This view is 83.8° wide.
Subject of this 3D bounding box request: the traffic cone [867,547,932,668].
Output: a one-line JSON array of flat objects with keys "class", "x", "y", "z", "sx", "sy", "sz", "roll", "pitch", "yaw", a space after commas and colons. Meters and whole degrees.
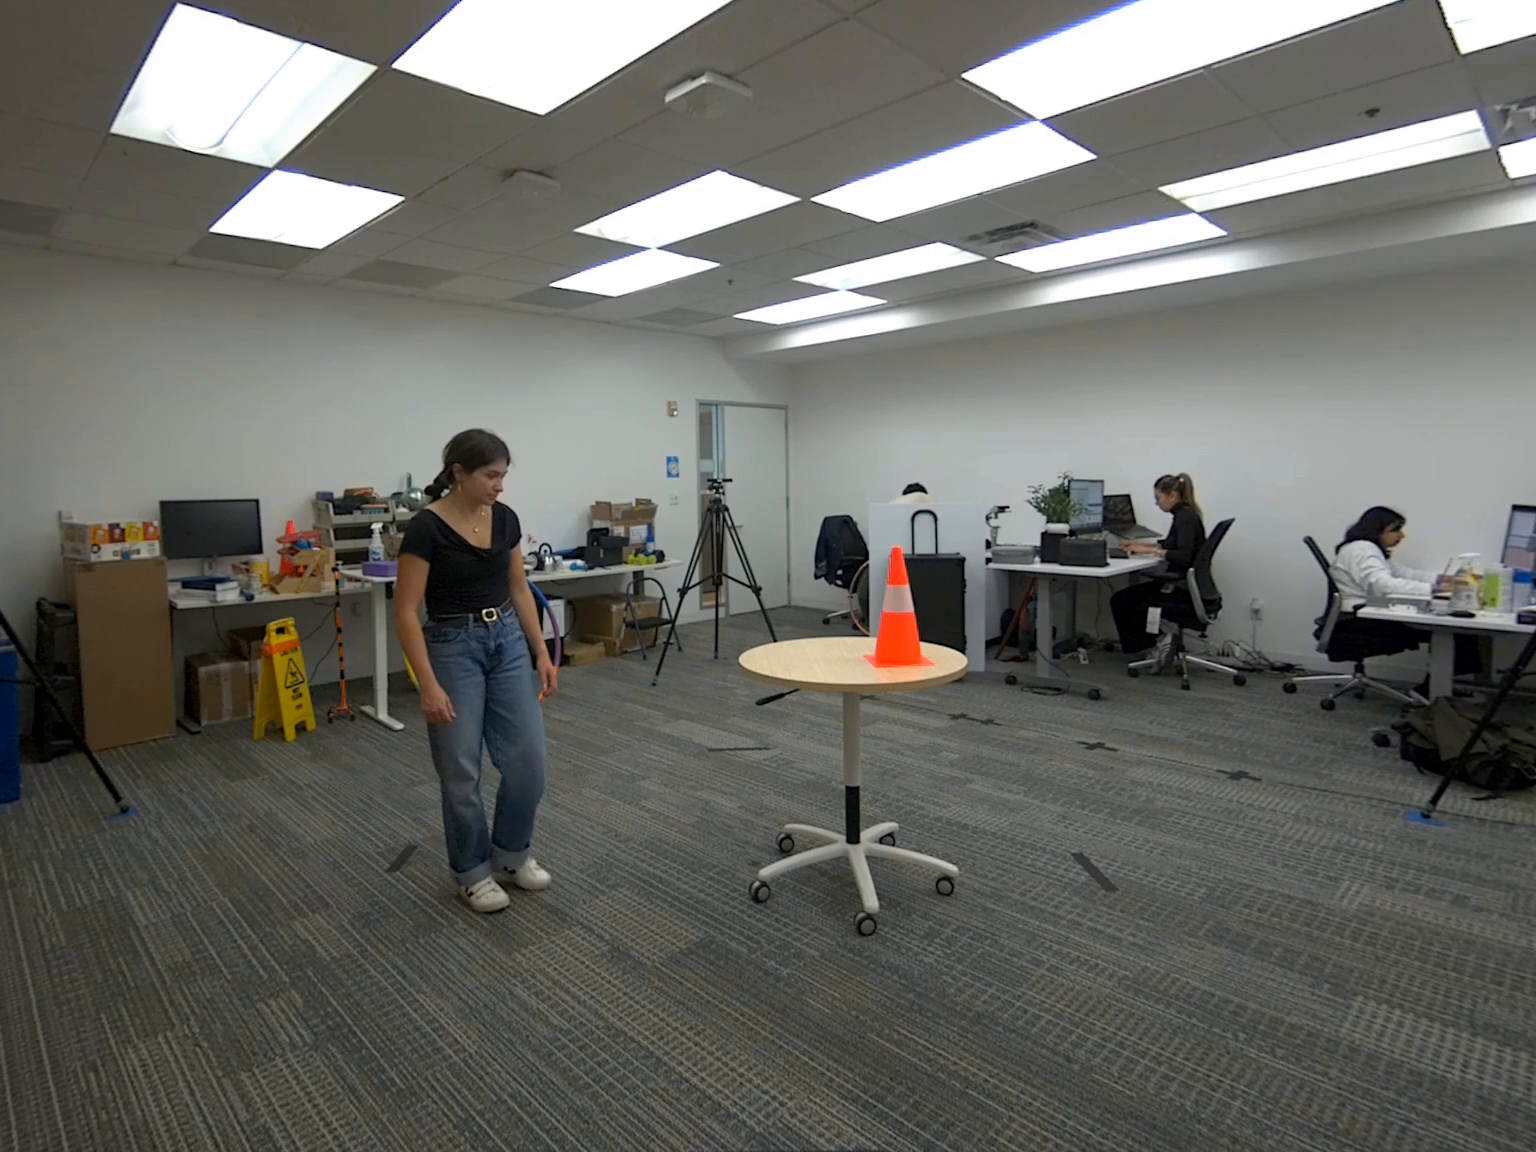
[{"class": "traffic cone", "x": 0.428, "y": 0.096, "z": 2.842, "sx": 0.203, "sy": 0.382, "sz": 0.206, "roll": -2, "pitch": 4, "yaw": -9}]
